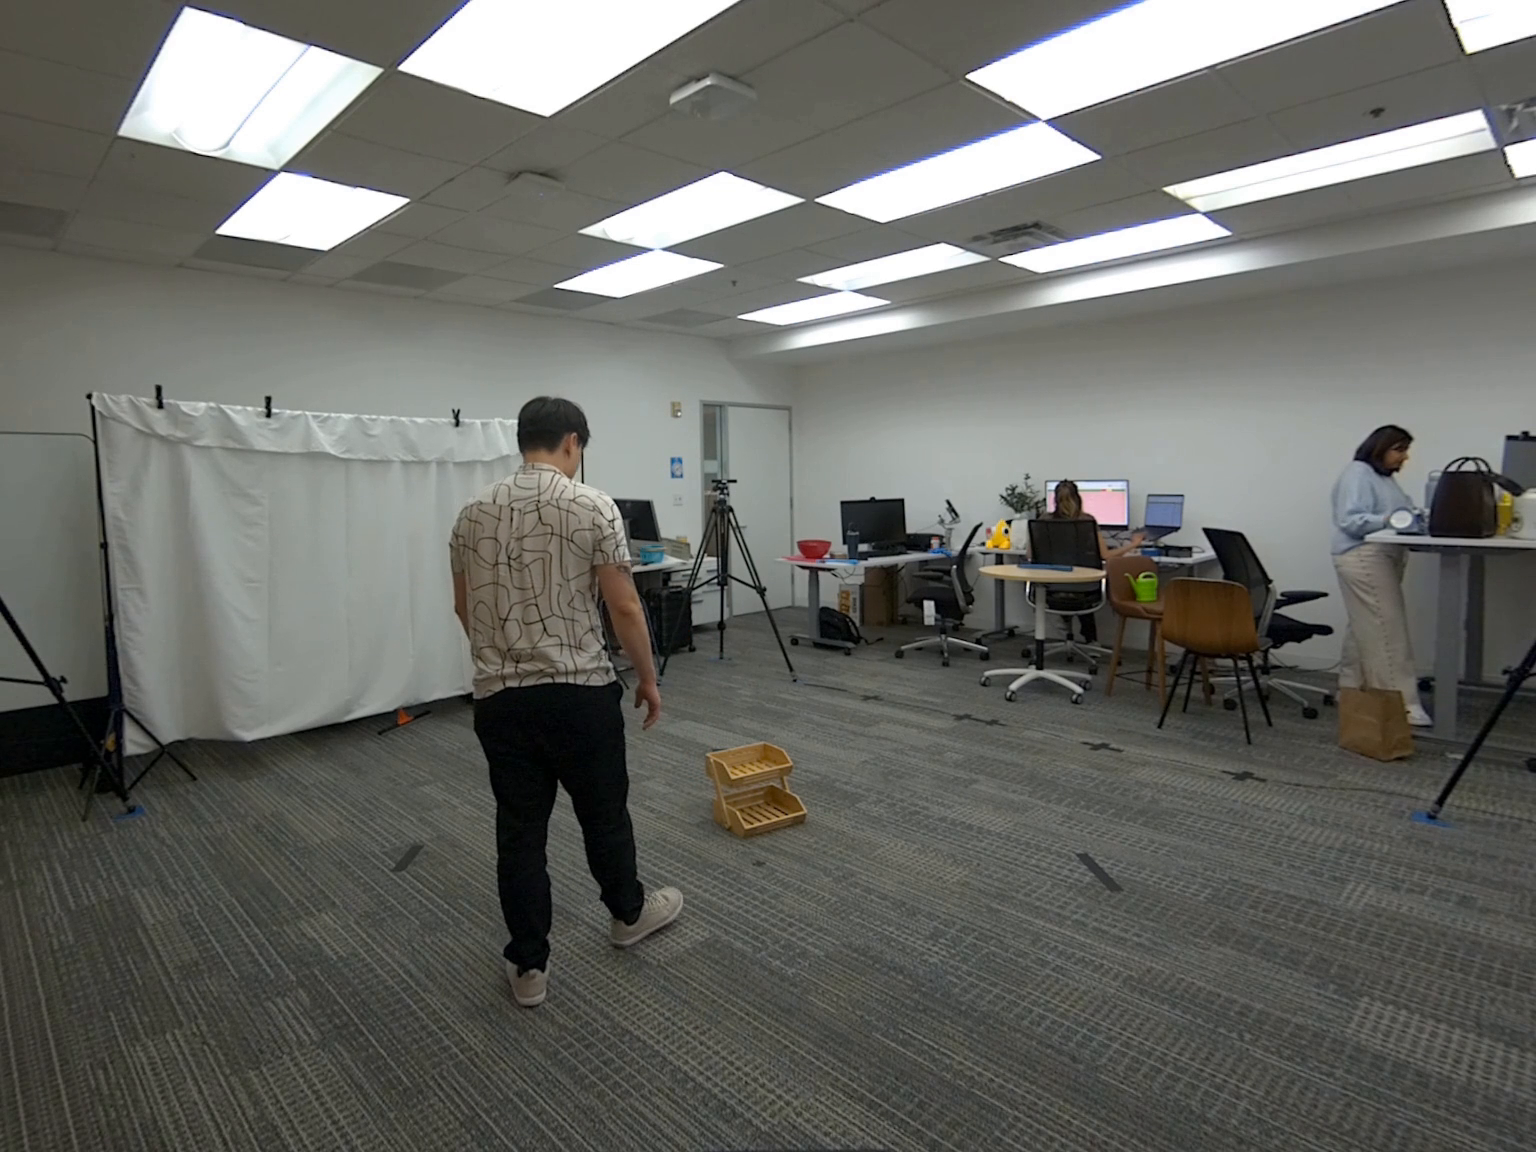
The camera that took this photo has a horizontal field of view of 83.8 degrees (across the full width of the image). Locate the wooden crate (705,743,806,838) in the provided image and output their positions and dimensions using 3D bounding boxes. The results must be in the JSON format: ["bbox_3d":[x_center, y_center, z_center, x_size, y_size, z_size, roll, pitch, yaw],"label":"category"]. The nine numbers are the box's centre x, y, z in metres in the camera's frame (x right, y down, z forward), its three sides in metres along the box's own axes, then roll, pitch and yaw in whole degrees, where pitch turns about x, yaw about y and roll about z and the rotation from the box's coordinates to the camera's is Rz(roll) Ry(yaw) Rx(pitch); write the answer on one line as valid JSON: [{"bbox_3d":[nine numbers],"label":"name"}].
[{"bbox_3d":[-0.049,0.866,3.510,0.316,0.272,0.310,-4,5,-33],"label":"wooden crate"}]
